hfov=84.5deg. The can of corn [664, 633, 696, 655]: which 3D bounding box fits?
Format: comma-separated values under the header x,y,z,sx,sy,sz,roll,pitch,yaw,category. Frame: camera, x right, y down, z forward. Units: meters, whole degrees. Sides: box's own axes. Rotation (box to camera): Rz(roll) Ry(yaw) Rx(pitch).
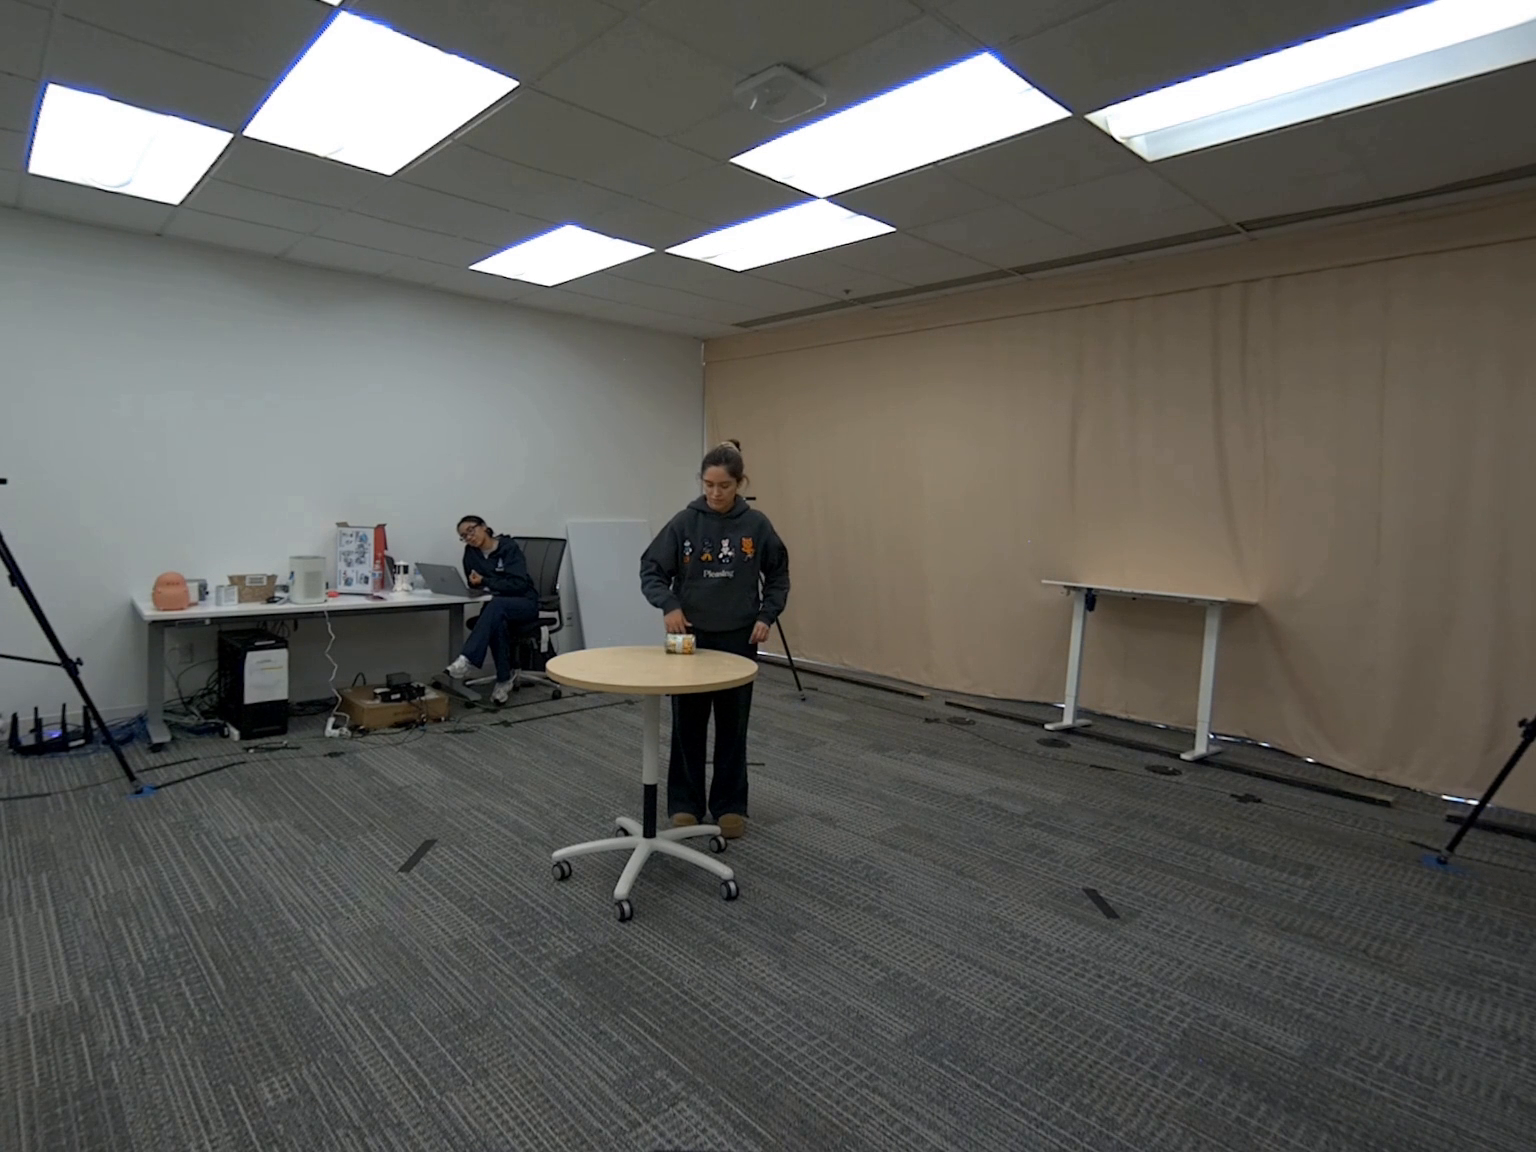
x,y,z,sx,sy,sz,roll,pitch,yaw,category
-0.360,0.266,3.300,0.111,0.074,0.074,5,5,1,can of corn
